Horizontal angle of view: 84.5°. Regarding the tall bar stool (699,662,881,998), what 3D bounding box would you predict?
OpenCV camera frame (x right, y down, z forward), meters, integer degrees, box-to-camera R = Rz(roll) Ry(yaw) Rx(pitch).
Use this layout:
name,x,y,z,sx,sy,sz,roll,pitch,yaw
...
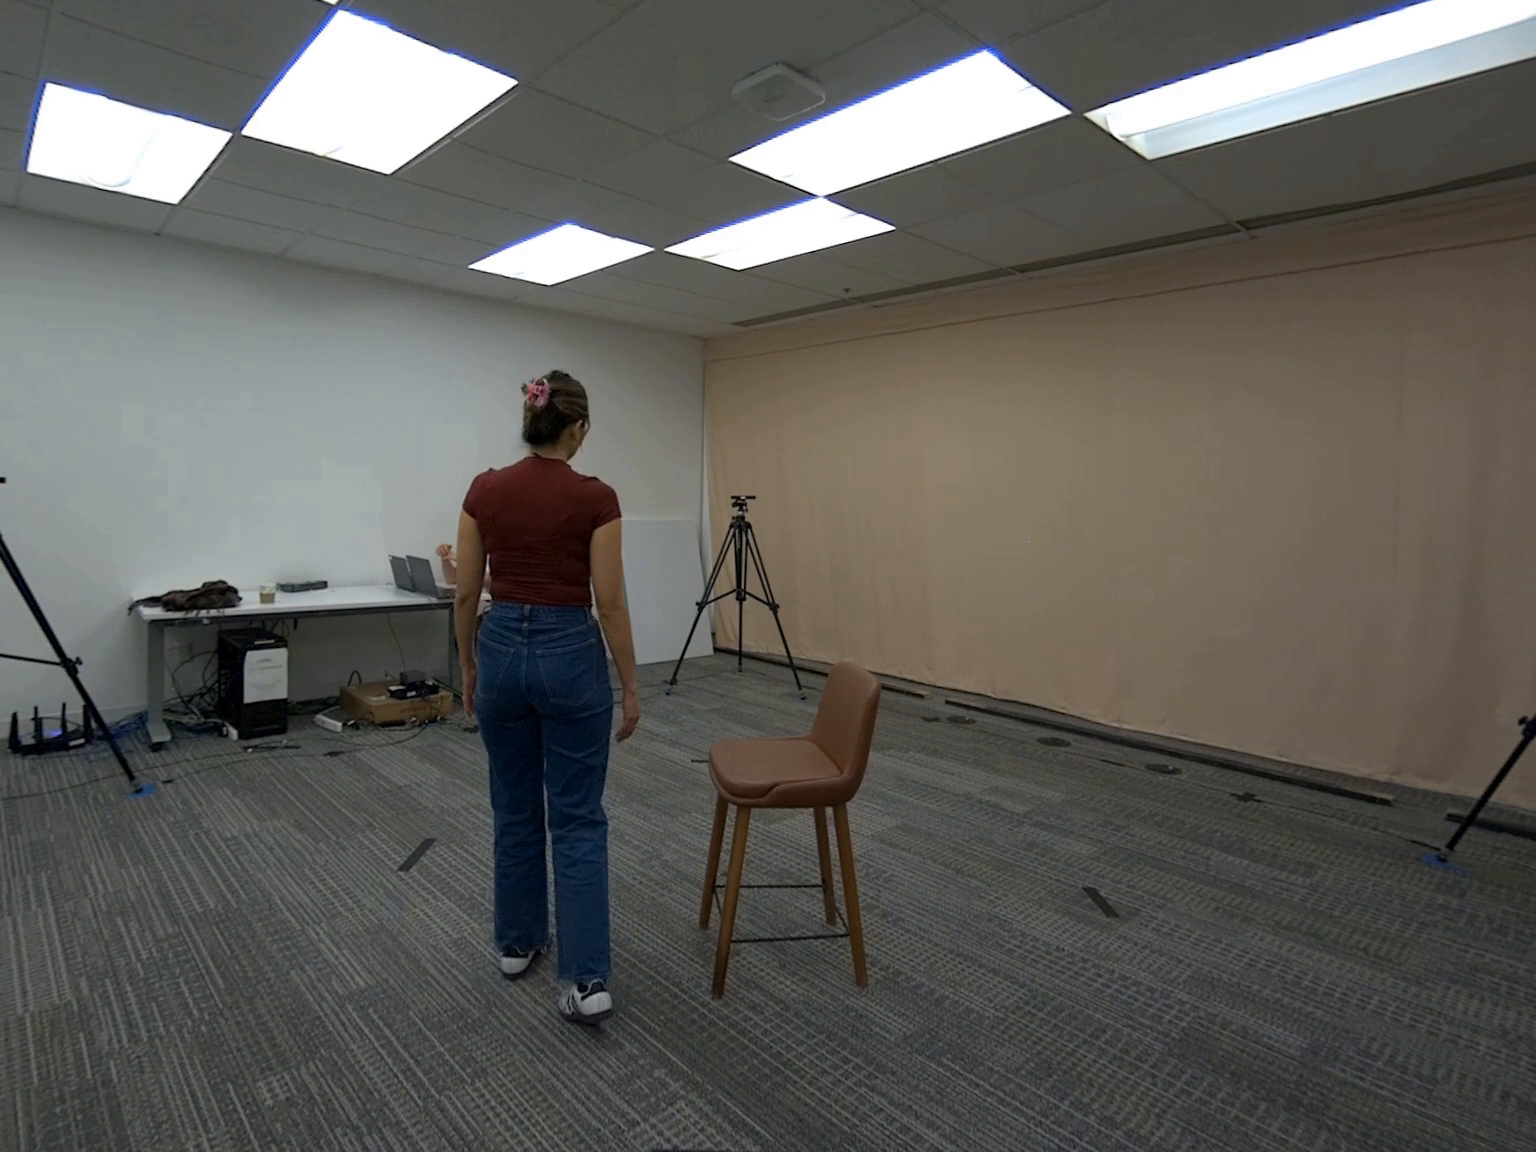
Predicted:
name,x,y,z,sx,sy,sz,roll,pitch,yaw
tall bar stool,0.046,0.729,2.535,0.464,0.887,0.461,2,4,-10
